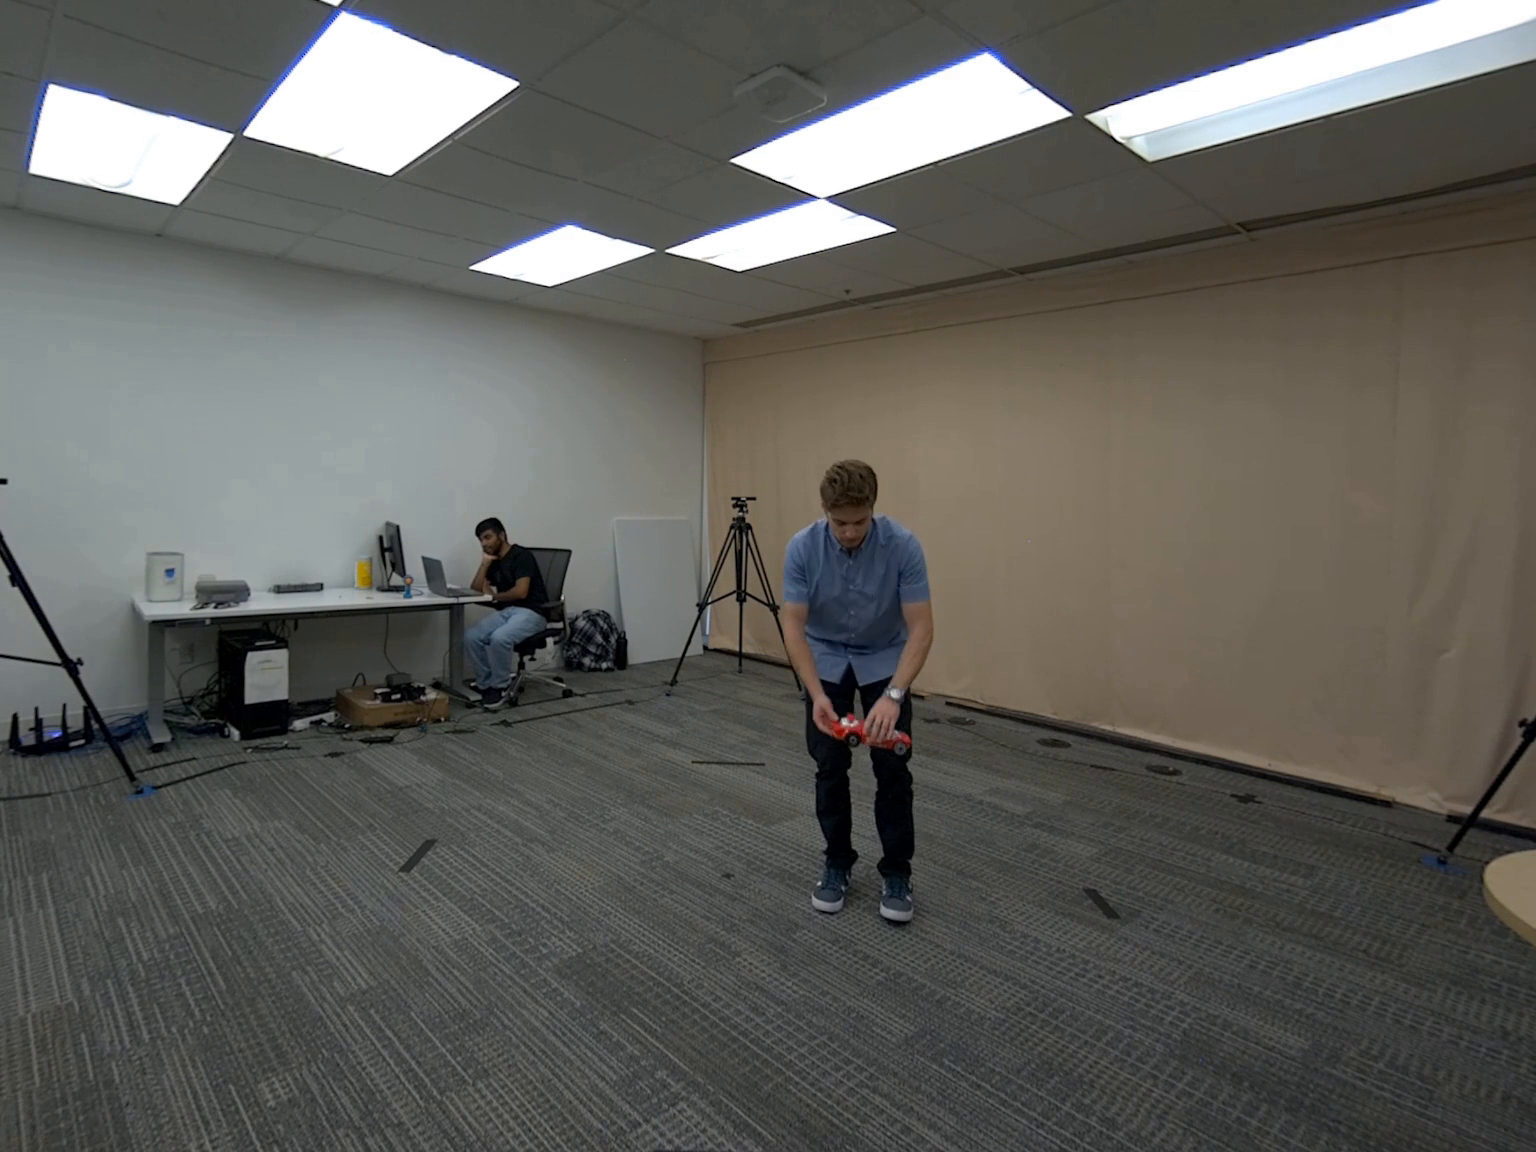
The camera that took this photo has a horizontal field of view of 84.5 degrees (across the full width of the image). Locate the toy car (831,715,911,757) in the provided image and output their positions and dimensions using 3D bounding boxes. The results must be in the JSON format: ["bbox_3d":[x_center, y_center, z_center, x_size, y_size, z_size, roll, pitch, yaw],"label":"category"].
[{"bbox_3d":[0.306,0.499,2.621,0.255,0.083,0.131,12,6,0],"label":"toy car"}]
